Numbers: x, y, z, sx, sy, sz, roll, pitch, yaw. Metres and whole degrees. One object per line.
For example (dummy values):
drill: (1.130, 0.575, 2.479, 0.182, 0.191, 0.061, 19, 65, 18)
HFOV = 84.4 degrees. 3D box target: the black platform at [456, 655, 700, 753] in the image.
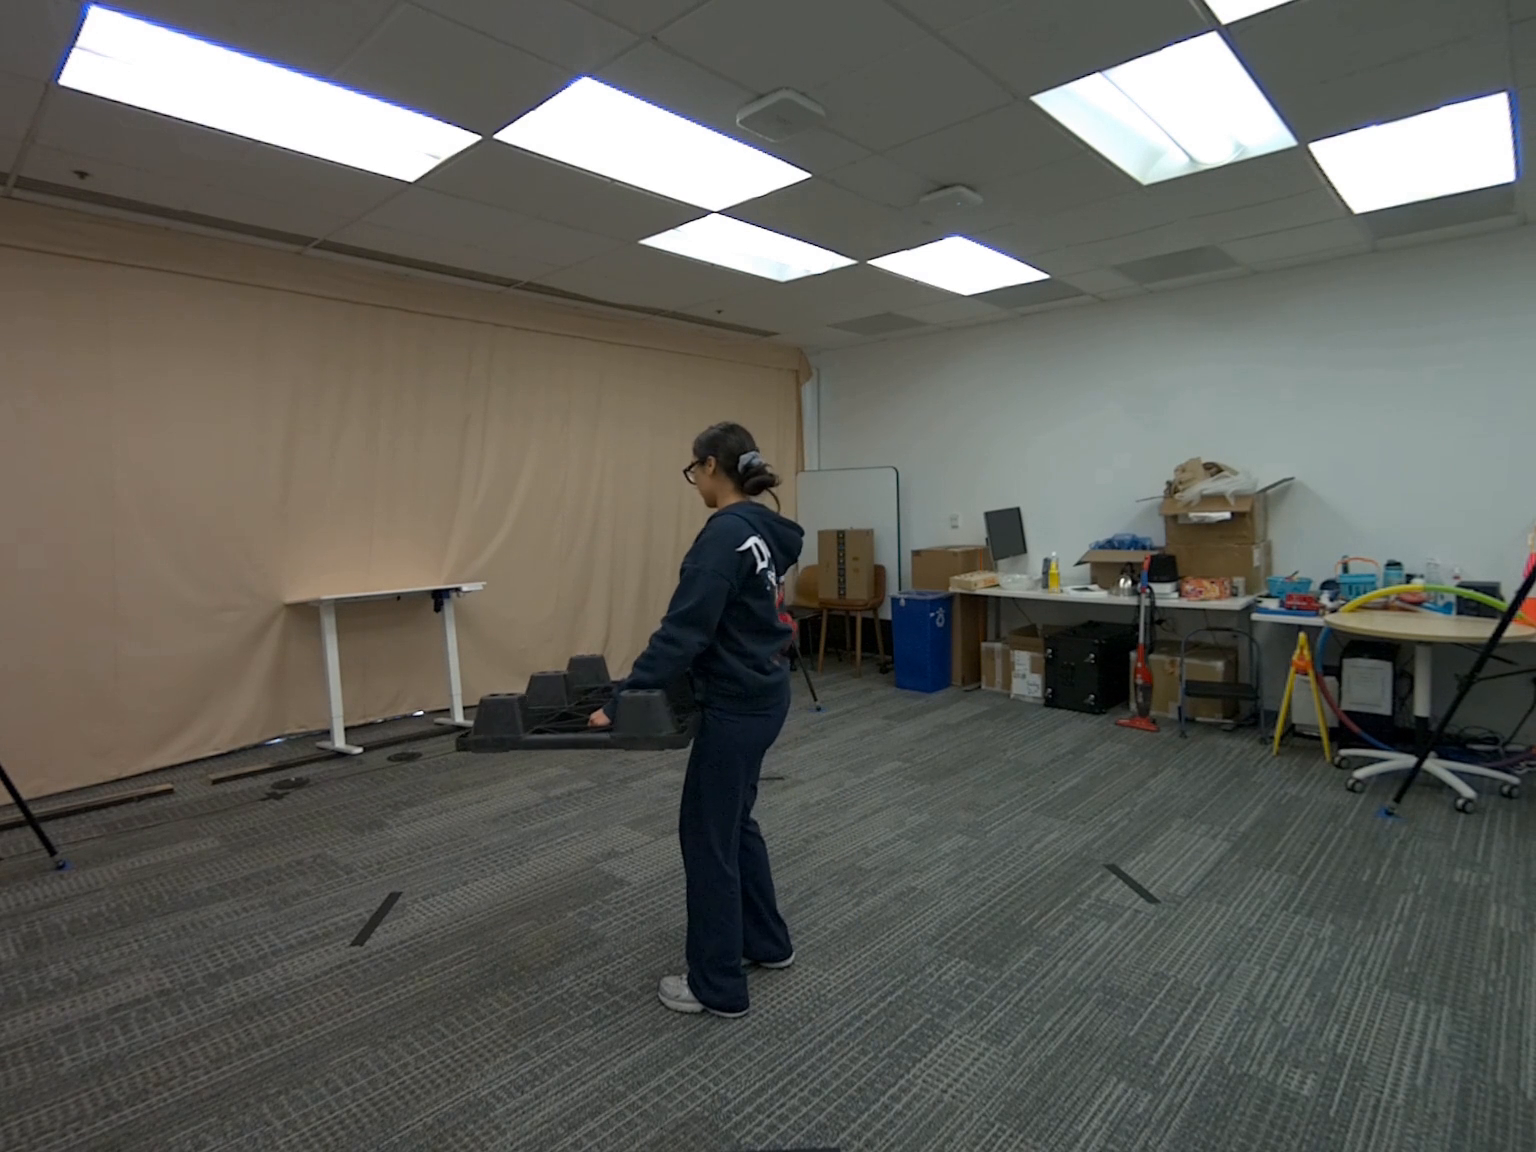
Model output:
black platform: (-0.450, 0.353, 2.460, 0.611, 0.143, 0.799, -3, 3, 8)
